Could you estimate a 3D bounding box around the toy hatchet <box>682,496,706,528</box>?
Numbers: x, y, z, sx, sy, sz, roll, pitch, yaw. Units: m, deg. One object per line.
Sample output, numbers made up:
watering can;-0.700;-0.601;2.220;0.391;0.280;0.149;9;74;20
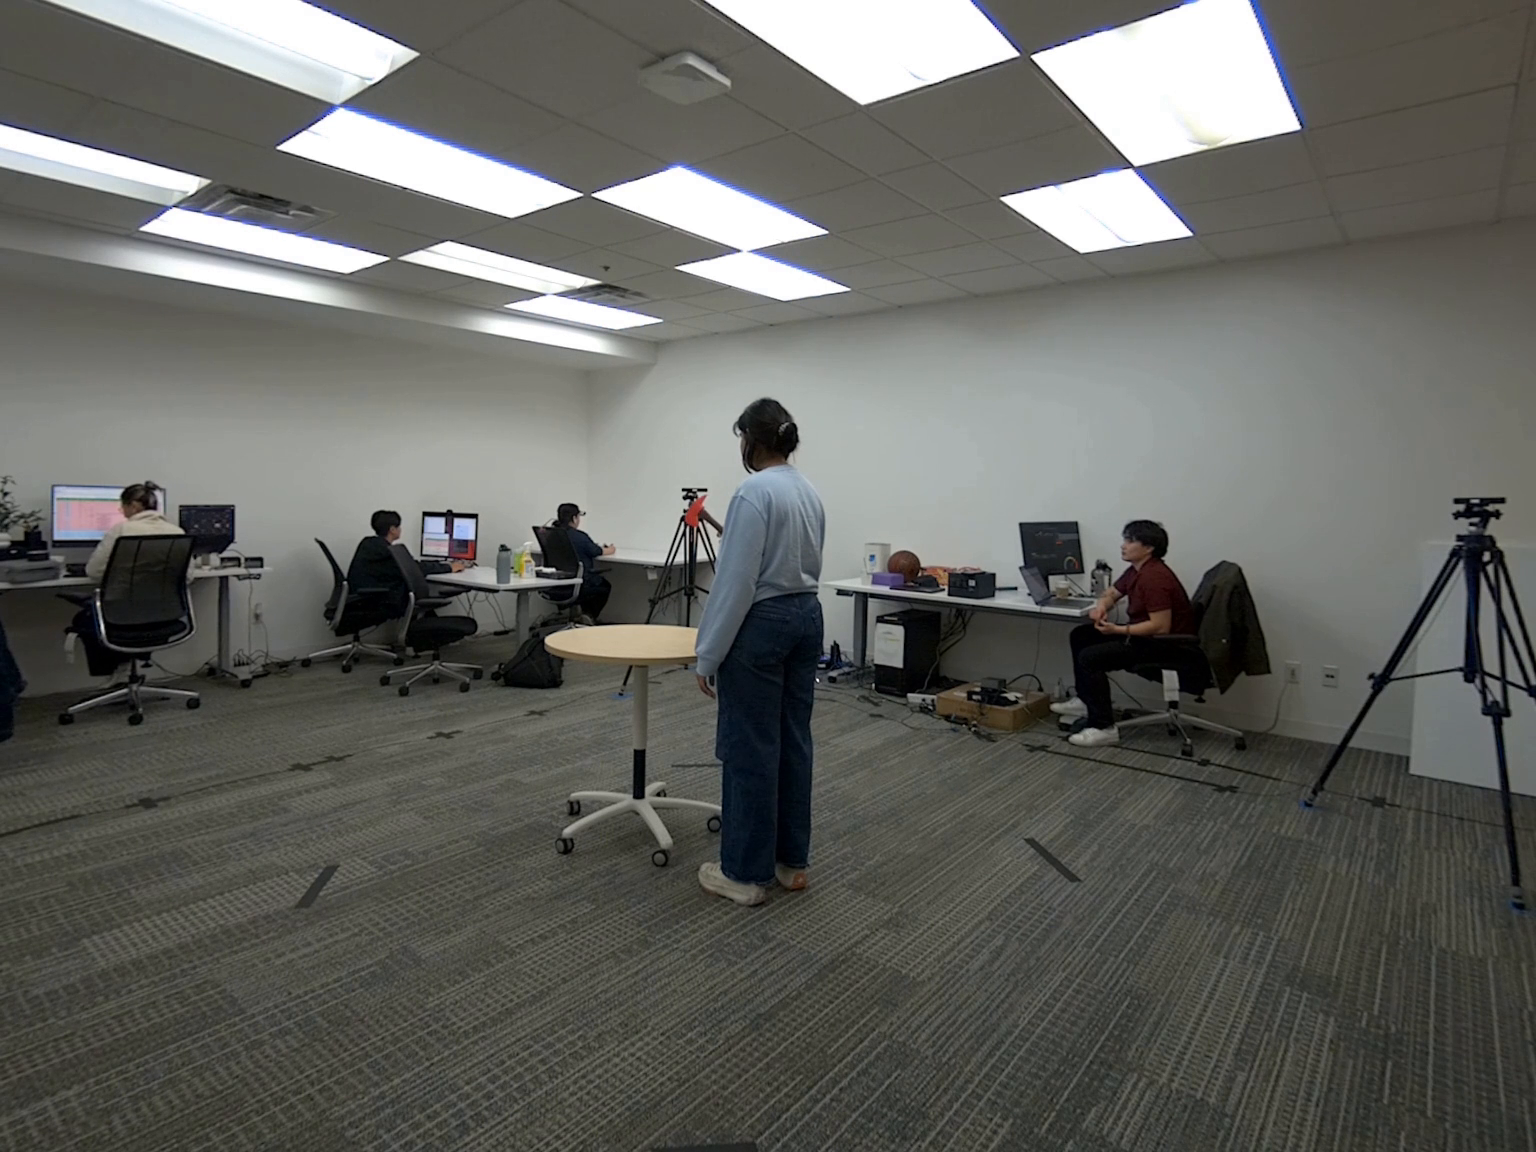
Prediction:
toy hatchet;-0.229;-0.173;3.212;0.131;0.274;0.029;-33;-10;12
